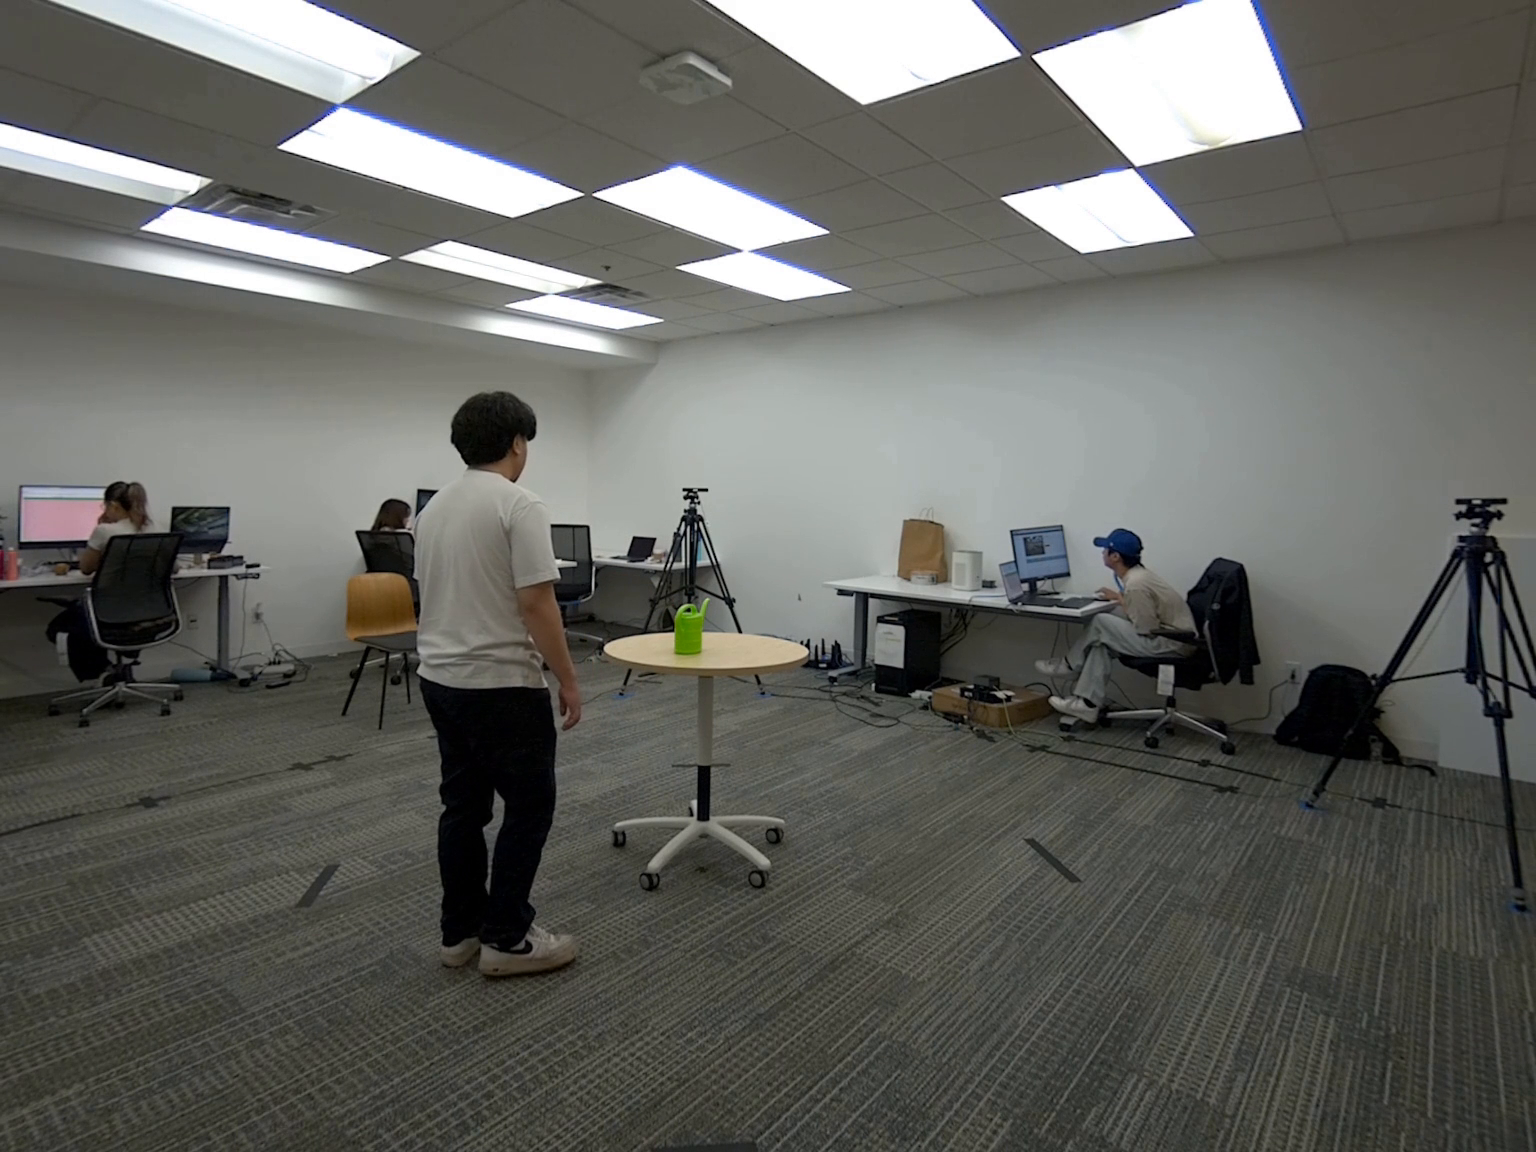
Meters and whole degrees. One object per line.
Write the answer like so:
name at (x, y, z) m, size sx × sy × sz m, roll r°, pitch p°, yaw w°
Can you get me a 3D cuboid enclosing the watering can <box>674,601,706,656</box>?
watering can at (-0.279, 0.186, 3.145) m, size 0.101 × 0.176 × 0.271 m, roll 0°, pitch 4°, yaw 34°
